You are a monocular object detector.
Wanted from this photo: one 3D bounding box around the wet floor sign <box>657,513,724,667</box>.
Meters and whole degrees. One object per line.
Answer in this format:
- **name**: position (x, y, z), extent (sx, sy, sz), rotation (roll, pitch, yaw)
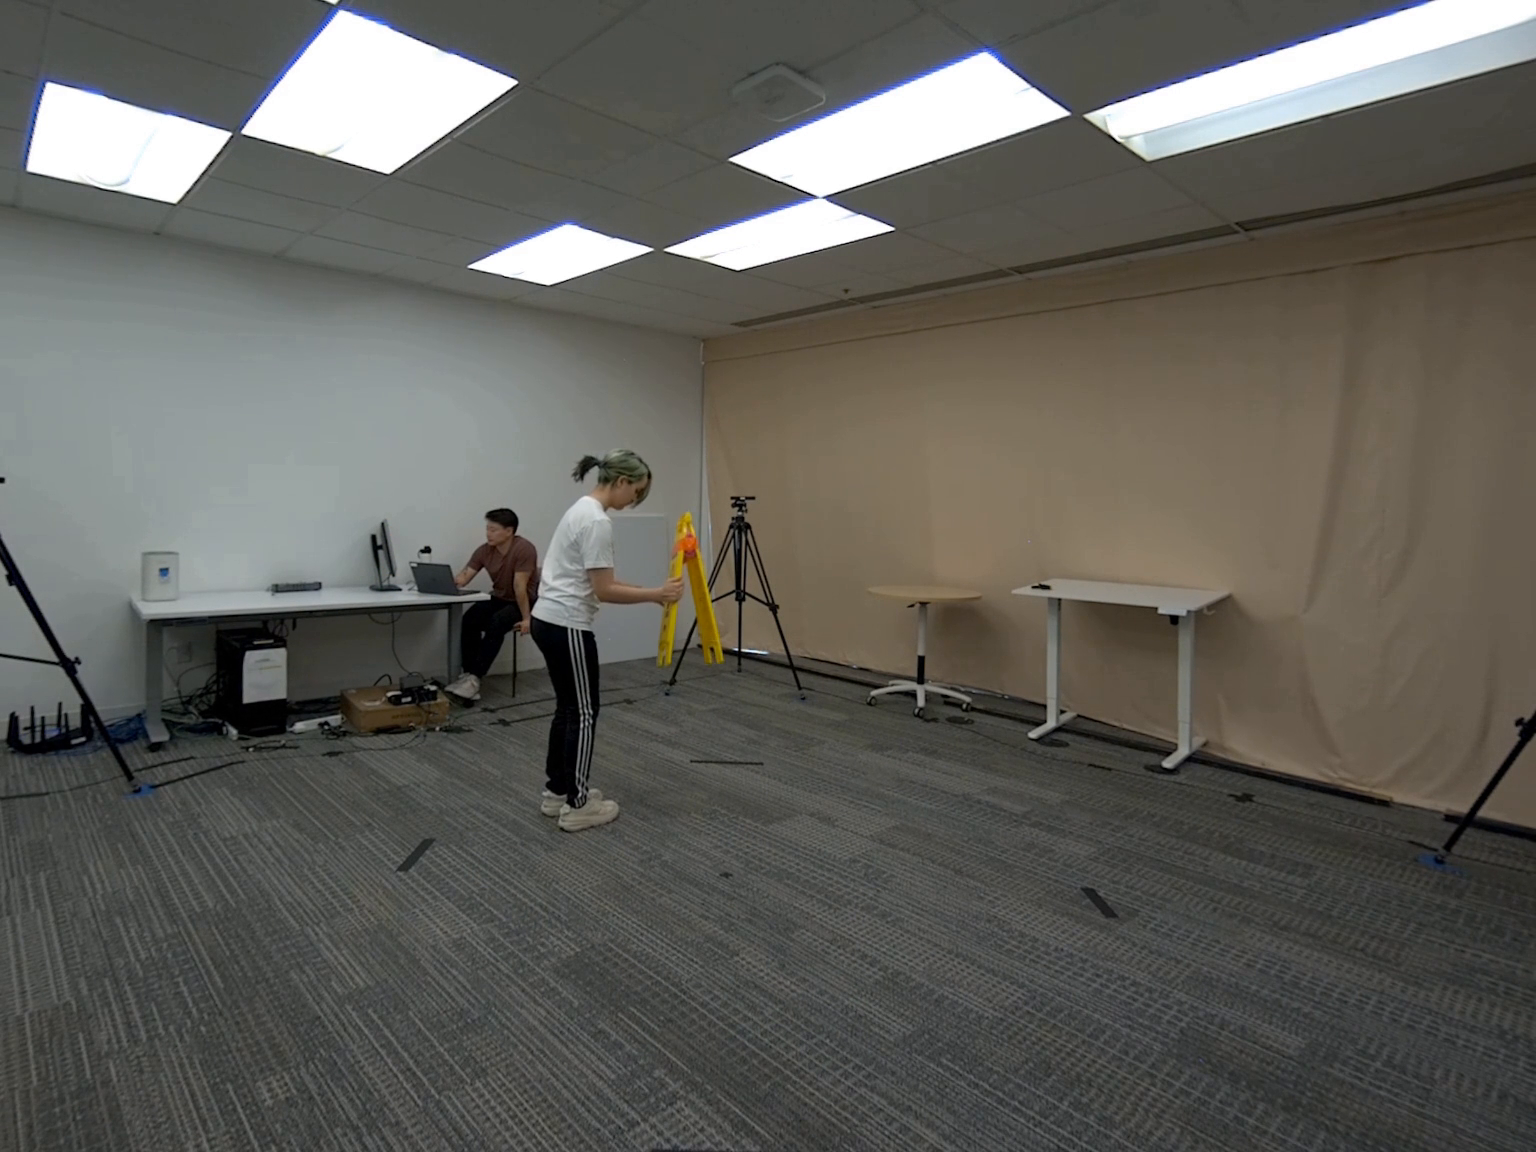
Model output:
- **wet floor sign**: position (-0.366, 0.067, 3.634), extent (0.286, 0.650, 0.284), rotation (-1, -8, -15)
